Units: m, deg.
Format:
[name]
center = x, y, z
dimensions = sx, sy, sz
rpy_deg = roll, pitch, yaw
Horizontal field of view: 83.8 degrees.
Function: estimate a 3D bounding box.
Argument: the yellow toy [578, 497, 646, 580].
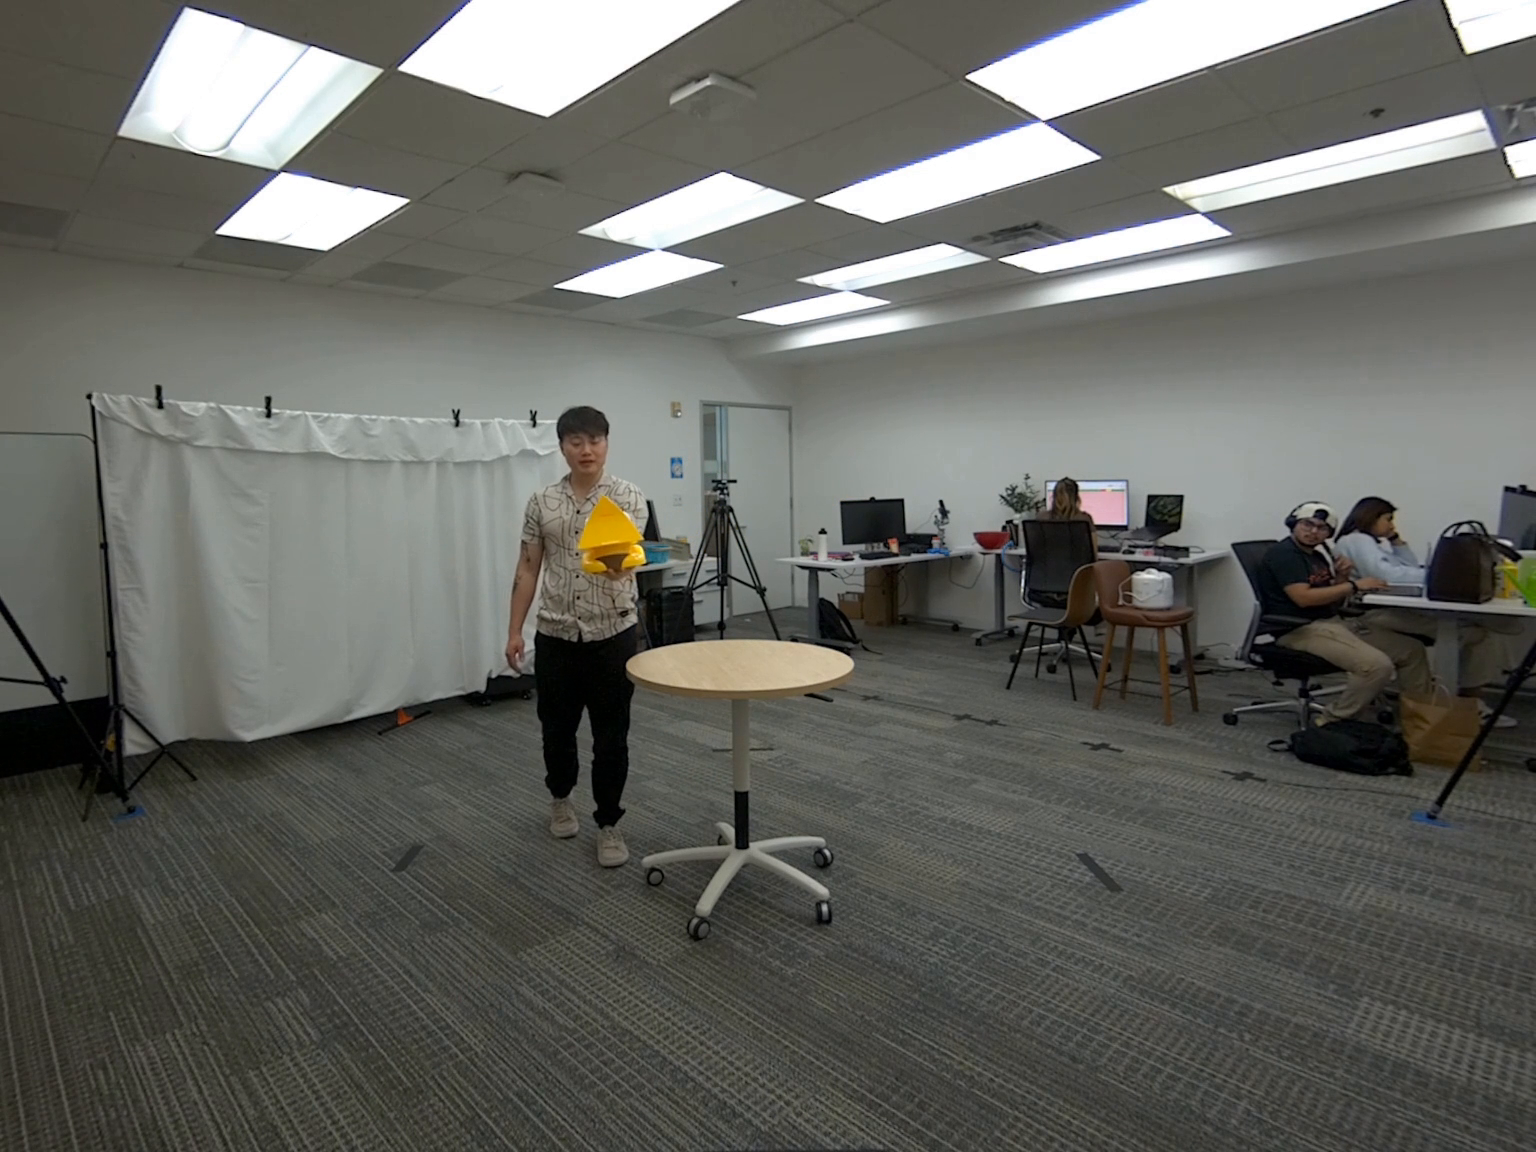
[yellow toy]
center = -0.495, -0.140, 2.684
dimensions = 0.203, 0.229, 0.195
rpy_deg = -9, 6, -8
